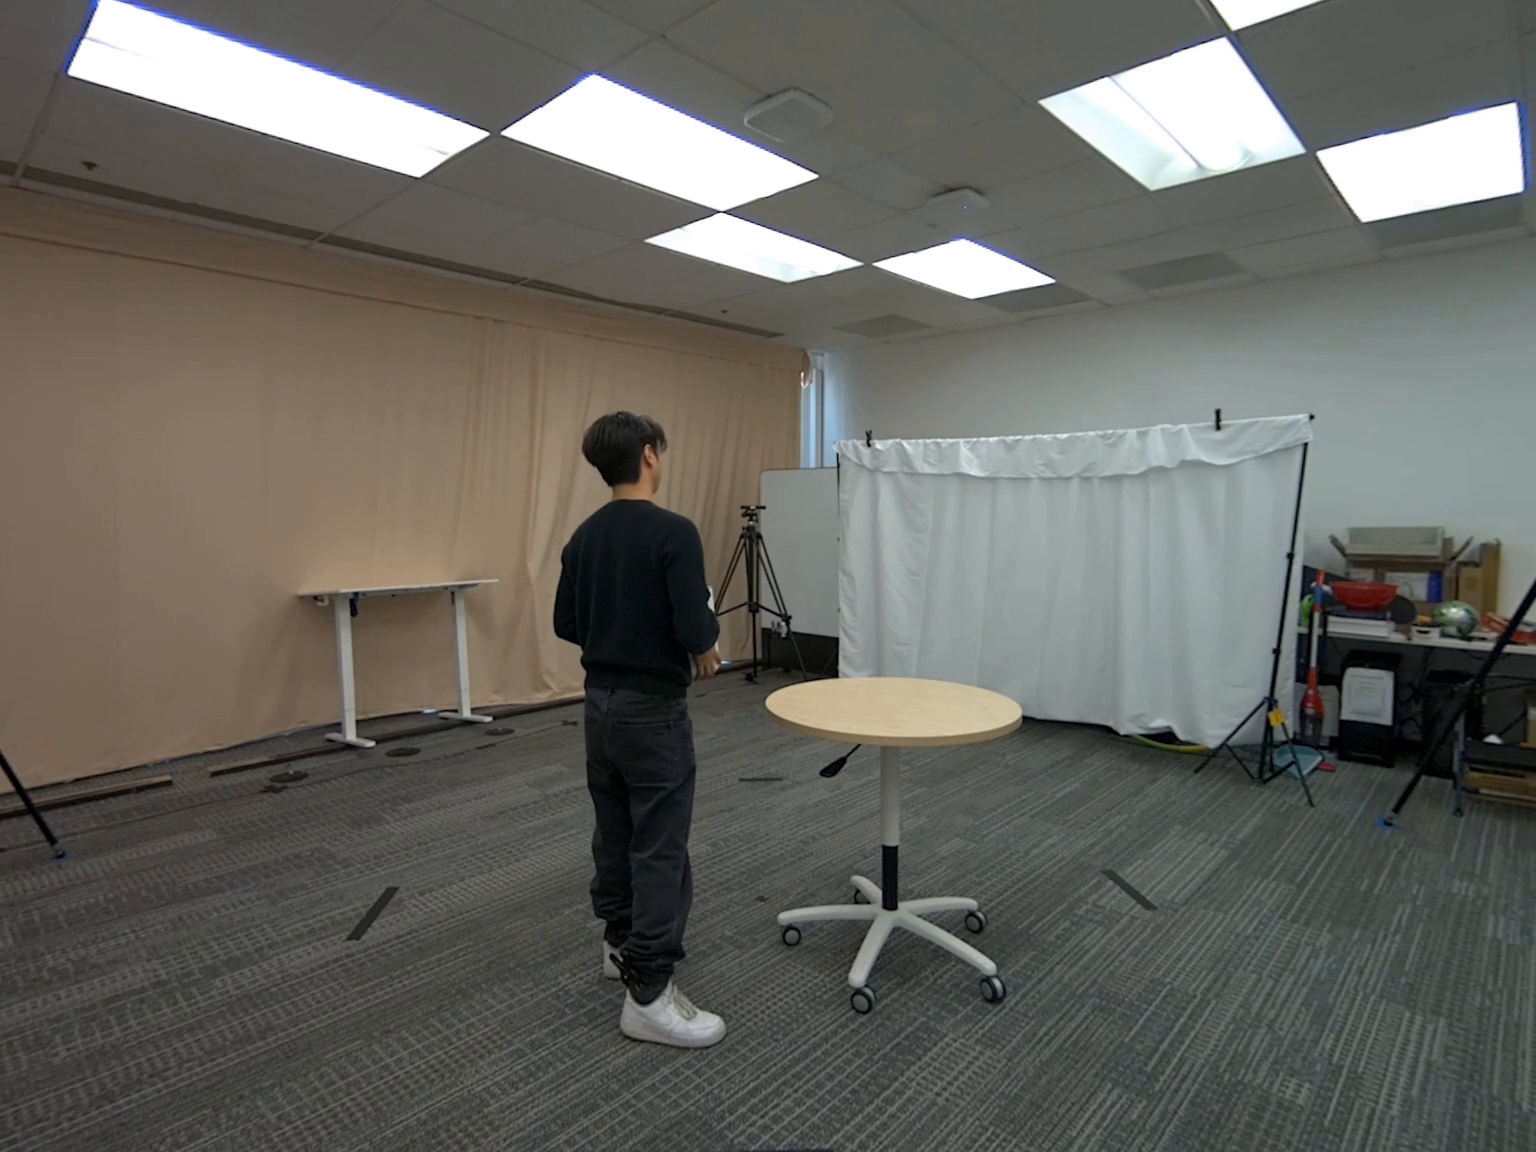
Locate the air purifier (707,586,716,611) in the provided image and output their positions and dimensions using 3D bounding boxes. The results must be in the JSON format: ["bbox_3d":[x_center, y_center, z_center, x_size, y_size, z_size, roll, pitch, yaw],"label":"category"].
[{"bbox_3d":[-0.260,0.172,2.565,0.176,0.265,0.167,-4,4,30],"label":"air purifier"}]
